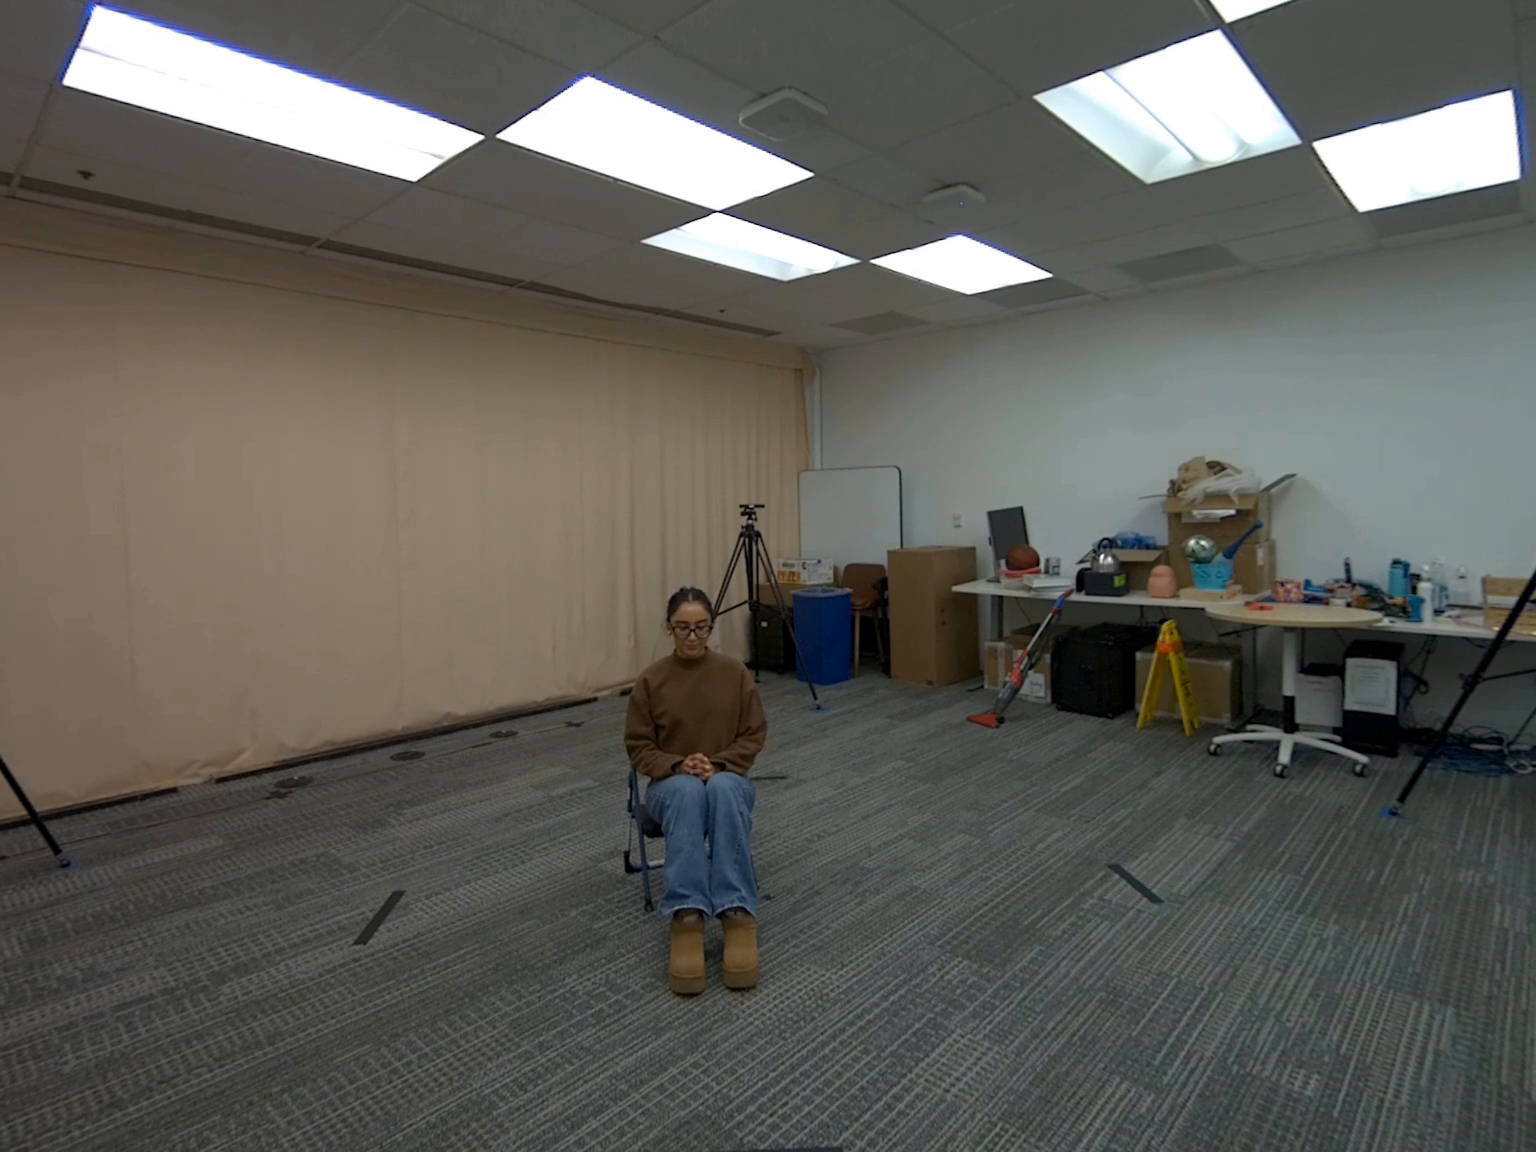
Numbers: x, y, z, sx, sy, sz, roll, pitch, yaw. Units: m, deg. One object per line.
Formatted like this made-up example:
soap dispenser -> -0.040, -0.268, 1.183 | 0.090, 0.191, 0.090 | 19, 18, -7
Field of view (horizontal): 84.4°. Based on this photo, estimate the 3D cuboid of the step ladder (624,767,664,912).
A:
step ladder -> -0.297, 0.837, 3.121 | 0.421, 0.605, 0.357 | -2, 3, -23
